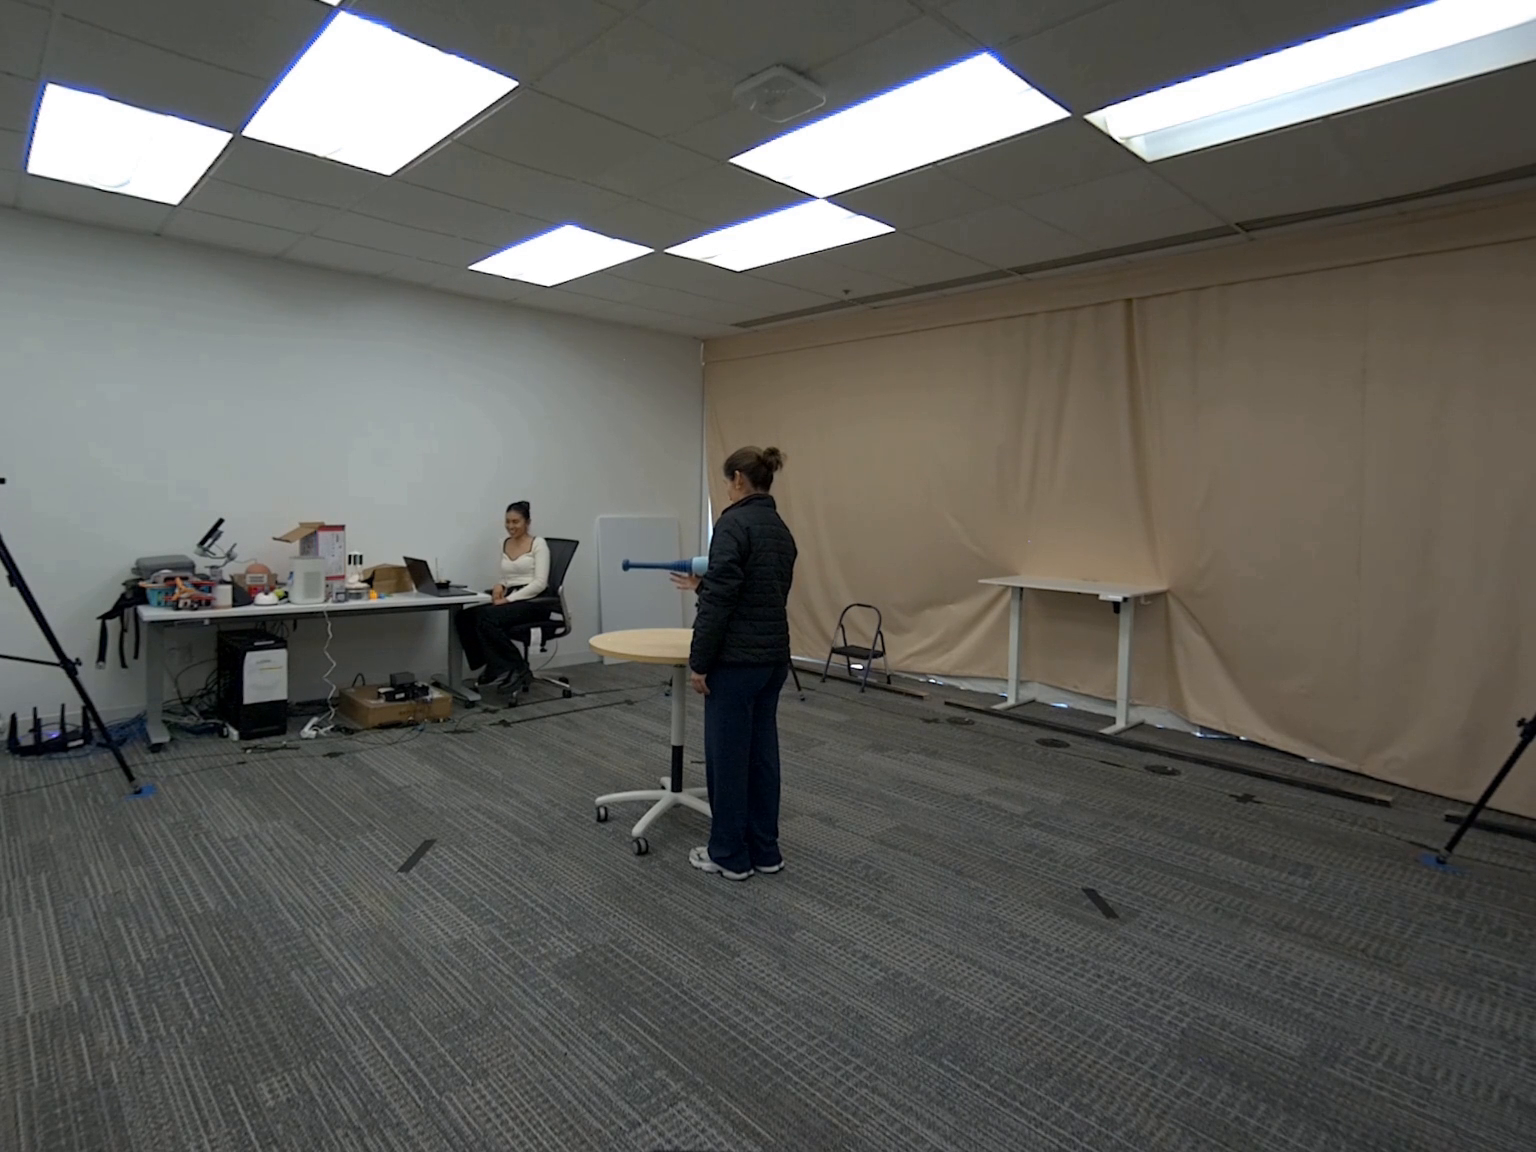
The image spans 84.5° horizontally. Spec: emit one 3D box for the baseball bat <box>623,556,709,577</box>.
[{"bbox_3d":[-0.318,-0.034,3.378,0.546,0.089,0.089,0,4,7],"label":"baseball bat"}]
